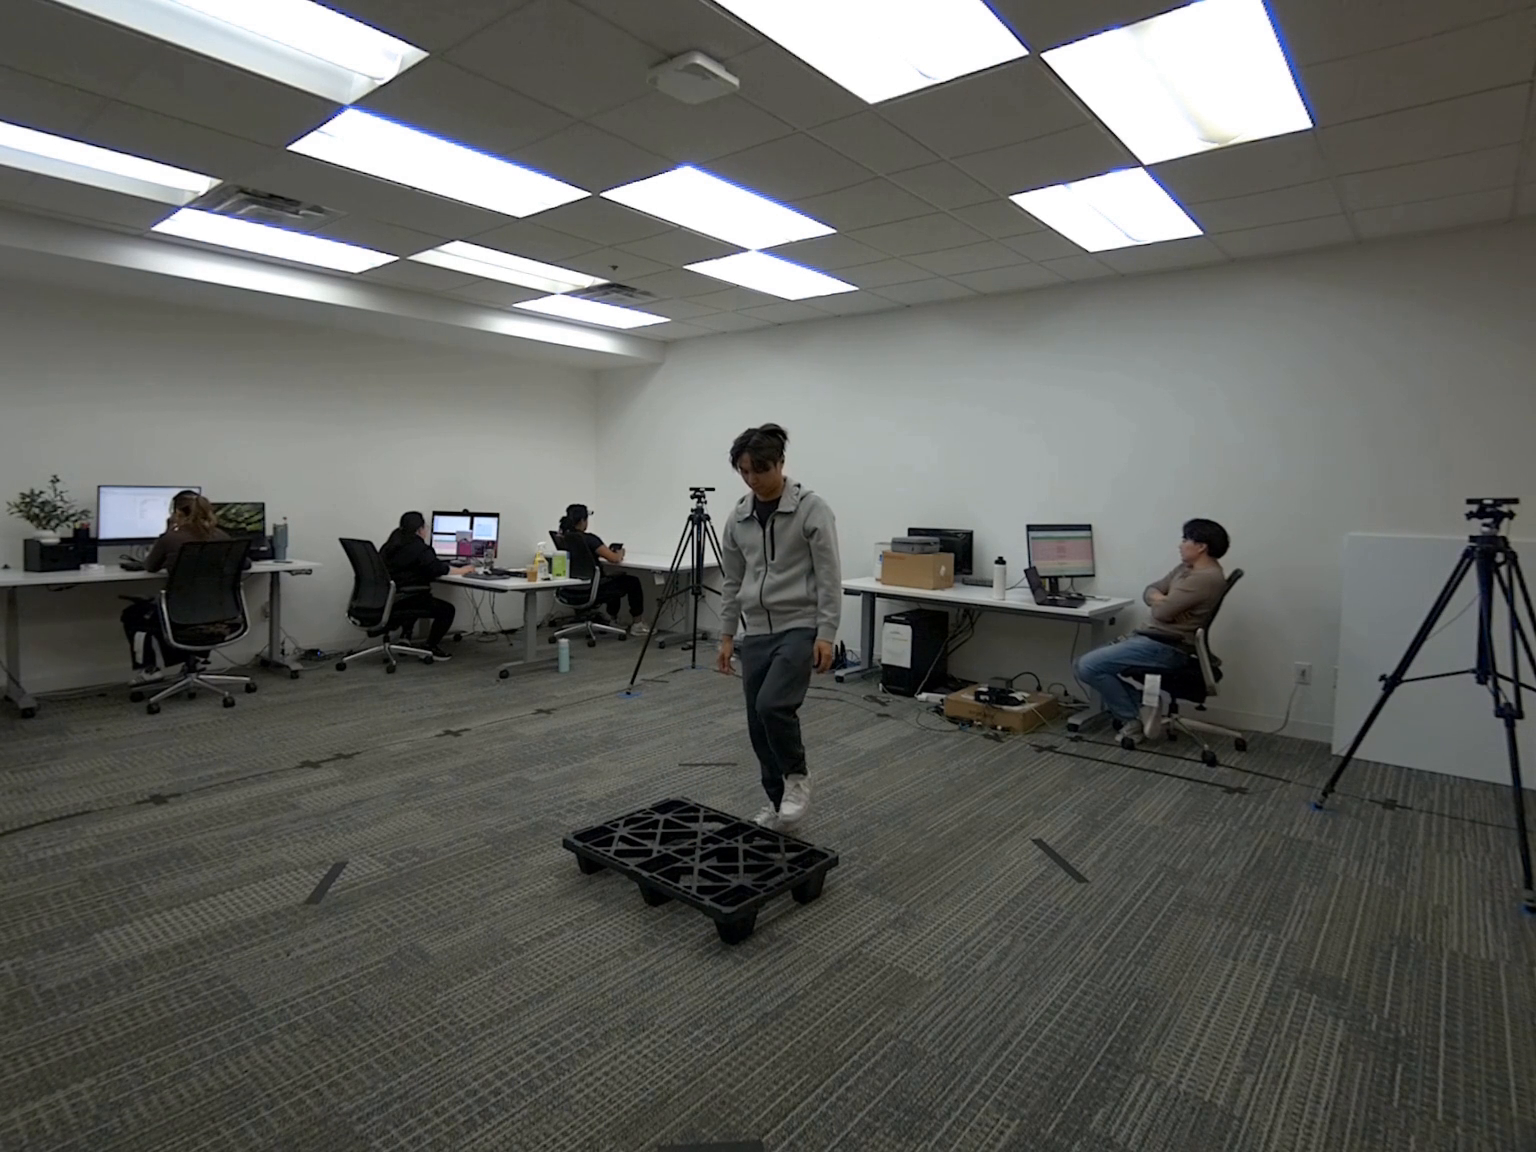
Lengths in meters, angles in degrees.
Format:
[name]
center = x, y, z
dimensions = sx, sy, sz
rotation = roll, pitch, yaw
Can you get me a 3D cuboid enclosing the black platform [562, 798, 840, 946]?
[black platform]
center = -0.259, 1.012, 2.998
dimensions = 0.833, 0.143, 0.587
rotation = 6, 6, 40
